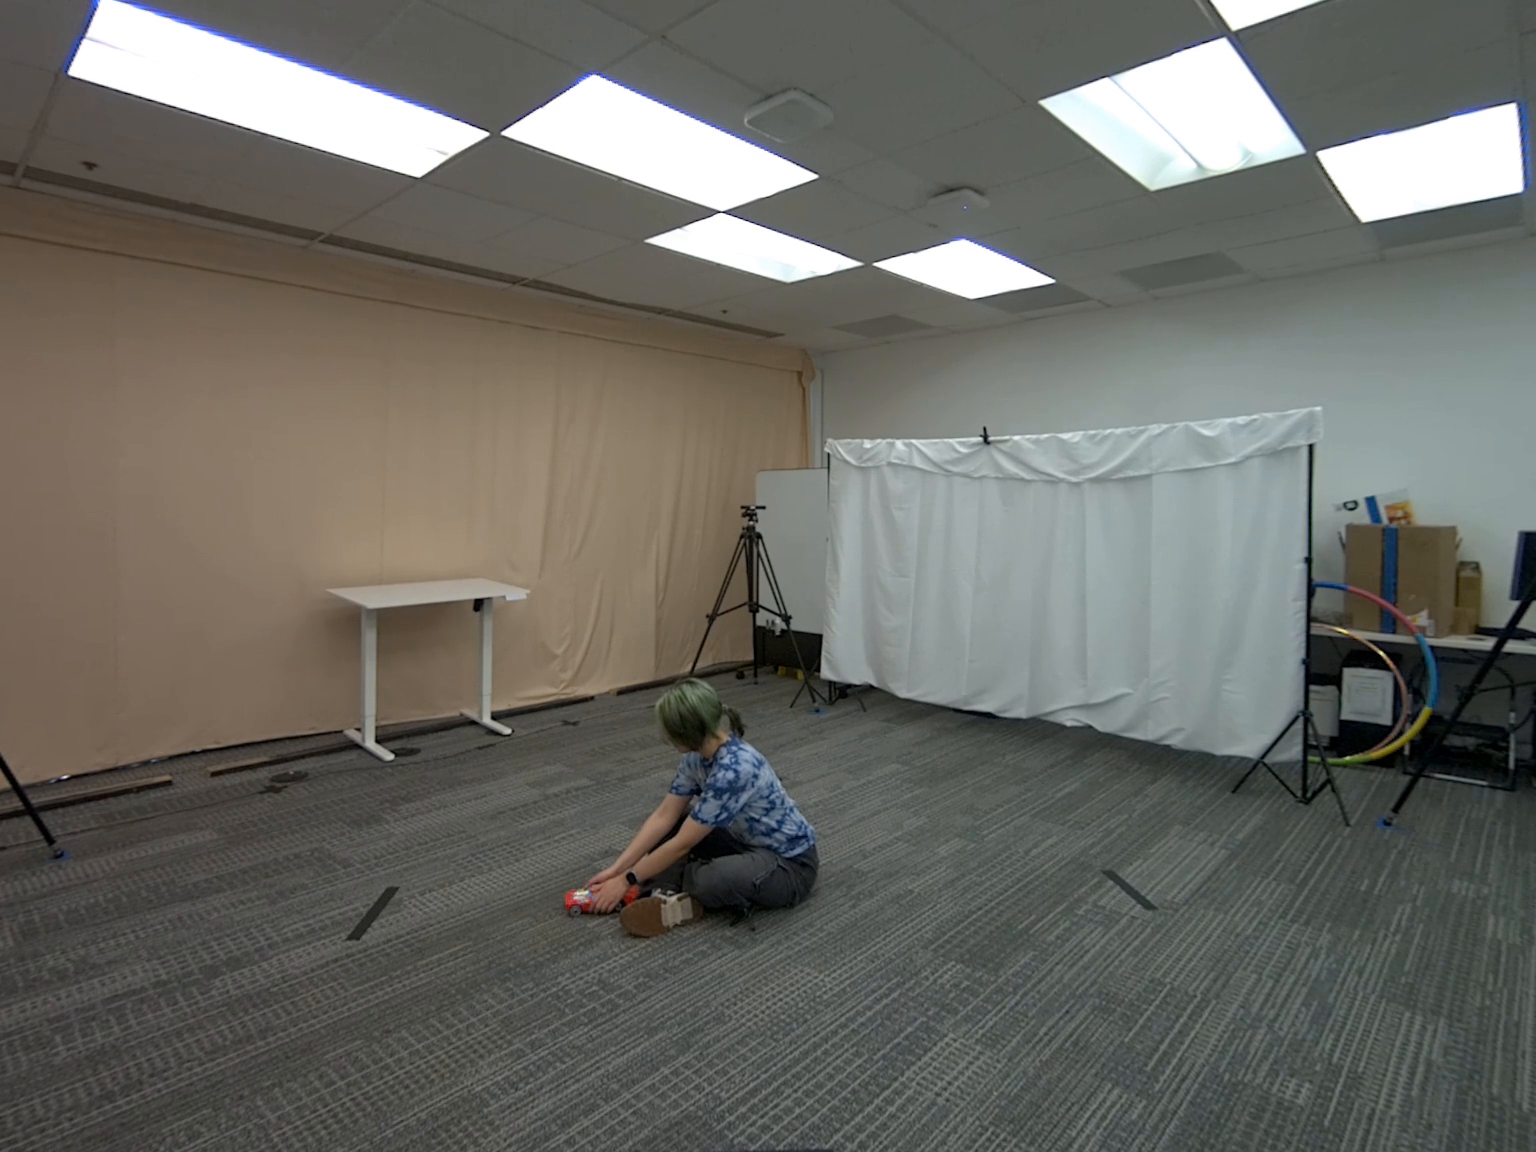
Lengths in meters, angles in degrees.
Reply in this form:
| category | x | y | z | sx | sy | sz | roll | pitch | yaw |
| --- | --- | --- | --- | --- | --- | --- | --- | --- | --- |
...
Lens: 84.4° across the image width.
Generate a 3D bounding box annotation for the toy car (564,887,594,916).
| category | x | y | z | sx | sy | sz | roll | pitch | yaw |
| --- | --- | --- | --- | --- | --- | --- | --- | --- | --- |
| toy car | -0.581 | 1.123 | 2.932 | 0.253 | 0.083 | 0.132 | -11 | 5 | -8 |
